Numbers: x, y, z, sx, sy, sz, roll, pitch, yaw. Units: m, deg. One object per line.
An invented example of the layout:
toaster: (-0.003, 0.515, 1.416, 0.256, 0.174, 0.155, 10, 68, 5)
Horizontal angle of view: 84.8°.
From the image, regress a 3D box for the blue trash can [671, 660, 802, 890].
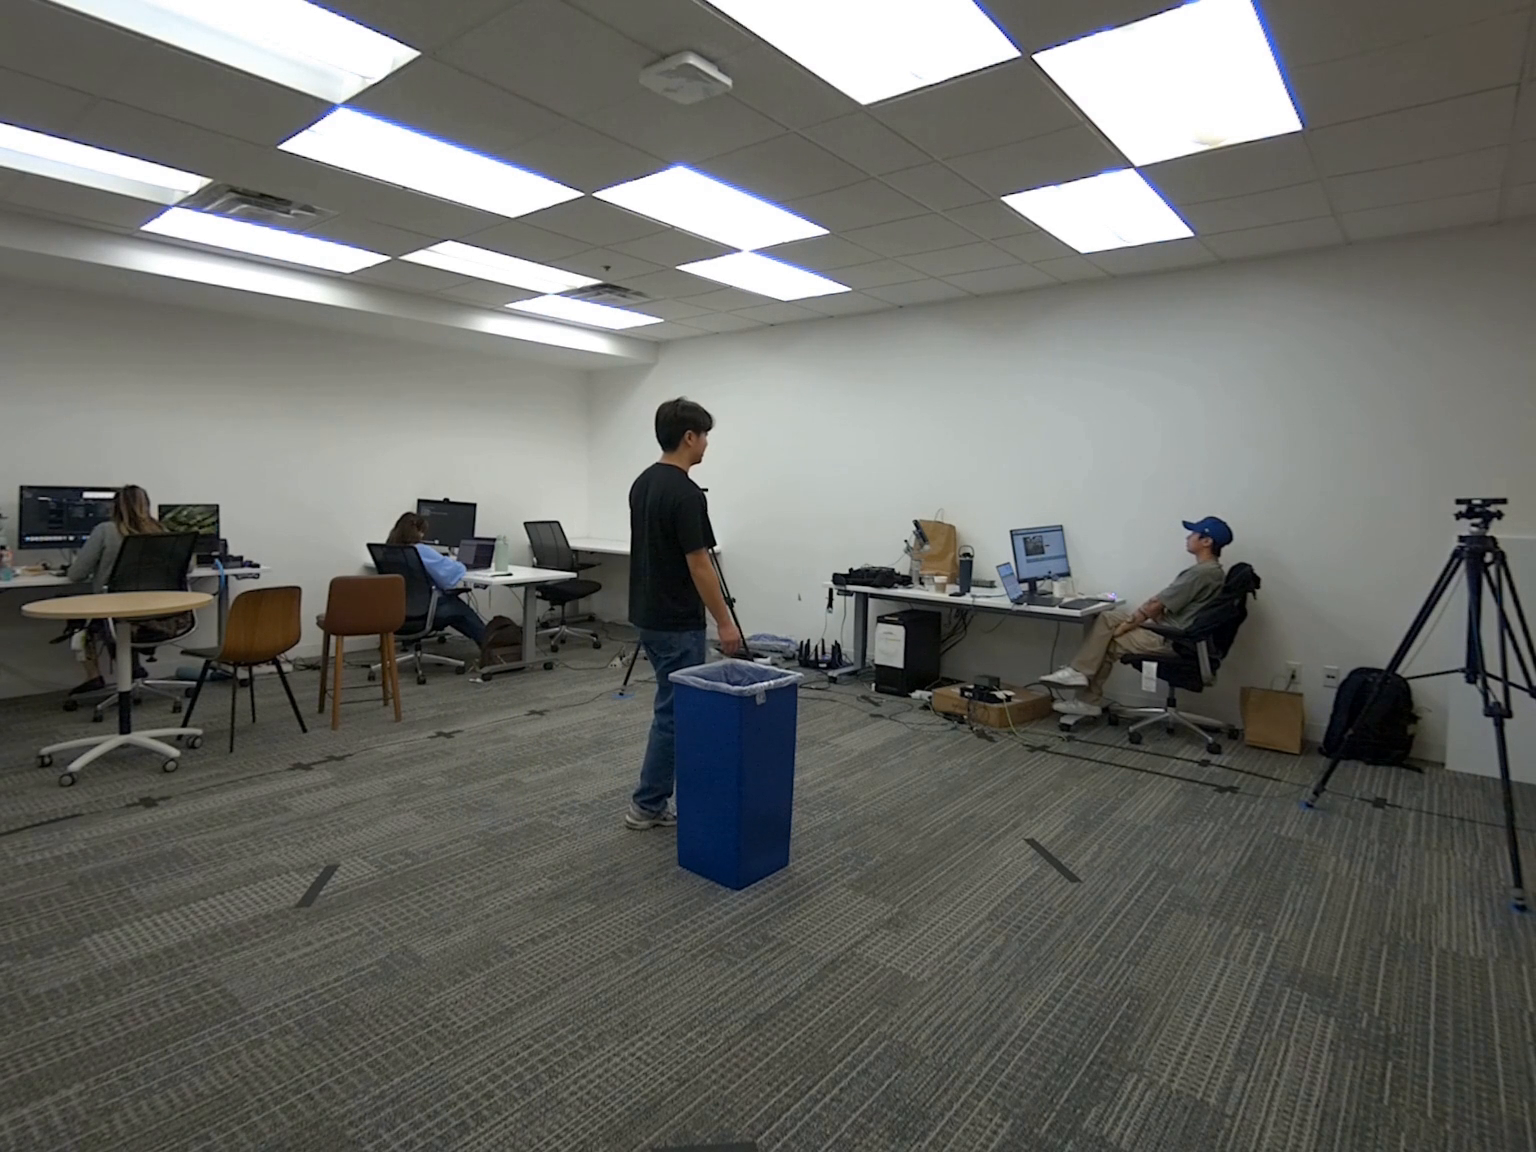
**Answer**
blue trash can: (-0.138, 0.707, 3.137, 0.387, 0.711, 0.366, 4, 4, 40)
